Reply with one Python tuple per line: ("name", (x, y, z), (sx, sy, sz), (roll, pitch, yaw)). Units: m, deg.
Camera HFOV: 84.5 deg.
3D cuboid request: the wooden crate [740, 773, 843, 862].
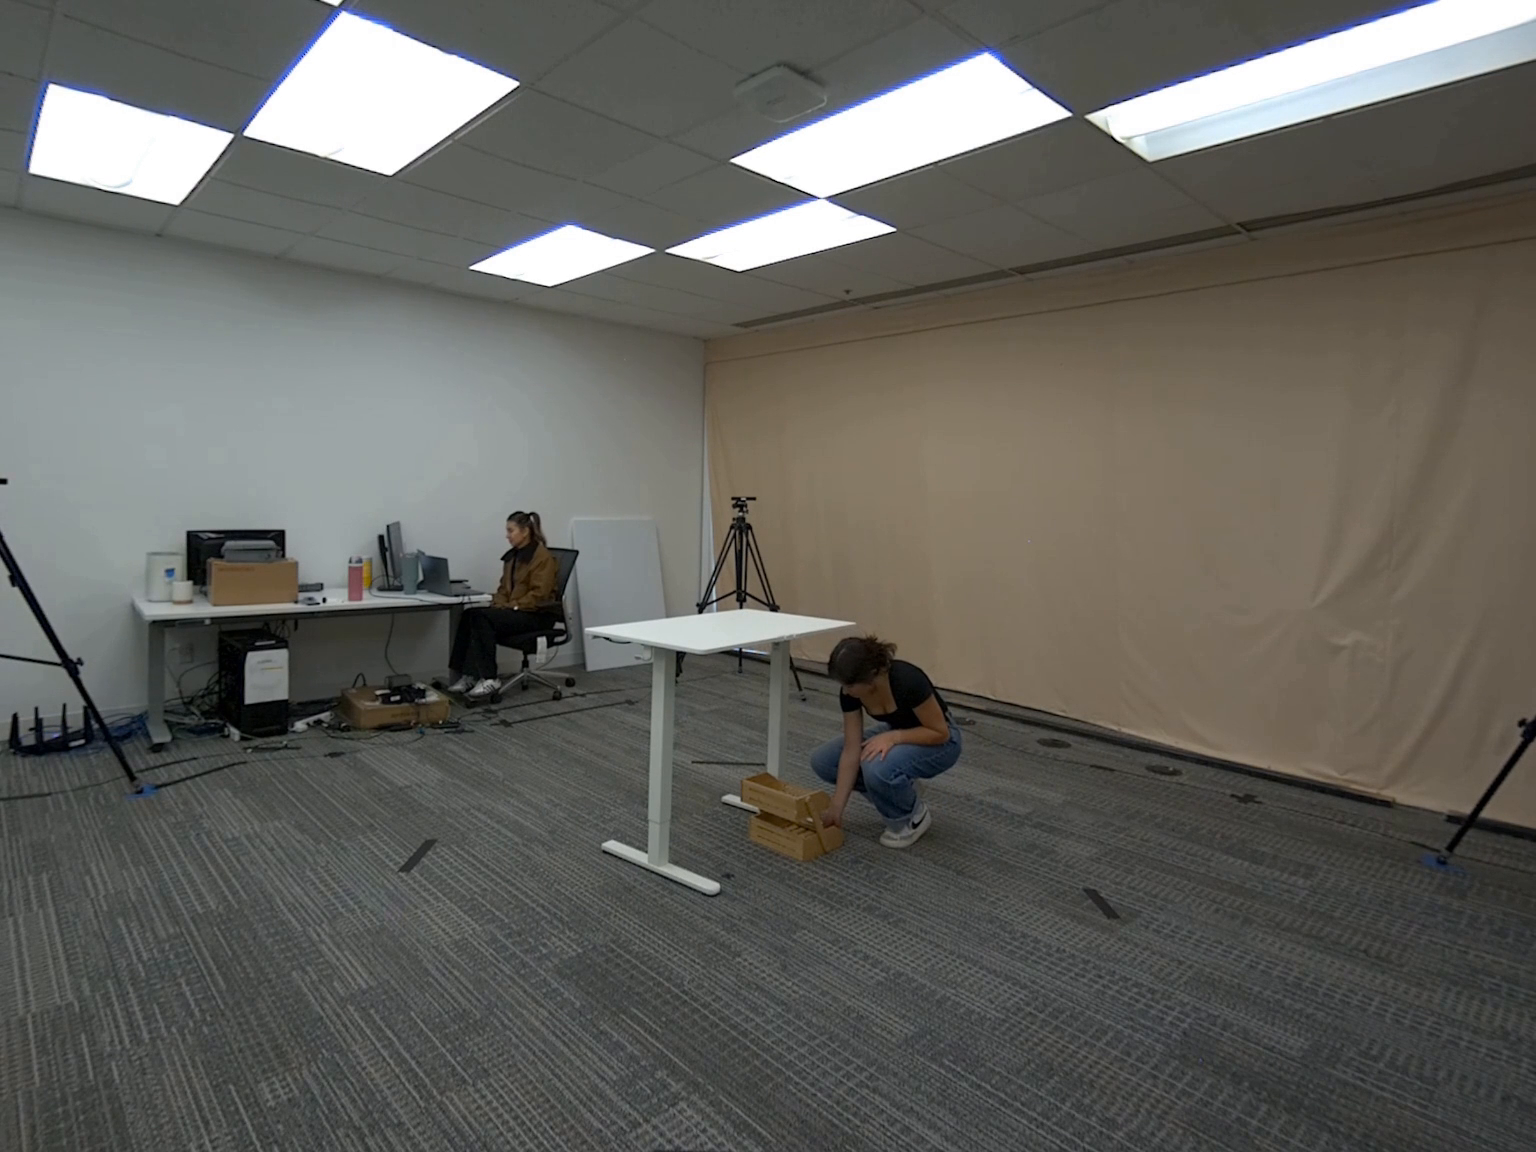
("wooden crate", (0.094, 0.950, 3.406), (0.333, 0.272, 0.295), (4, 5, 43))
